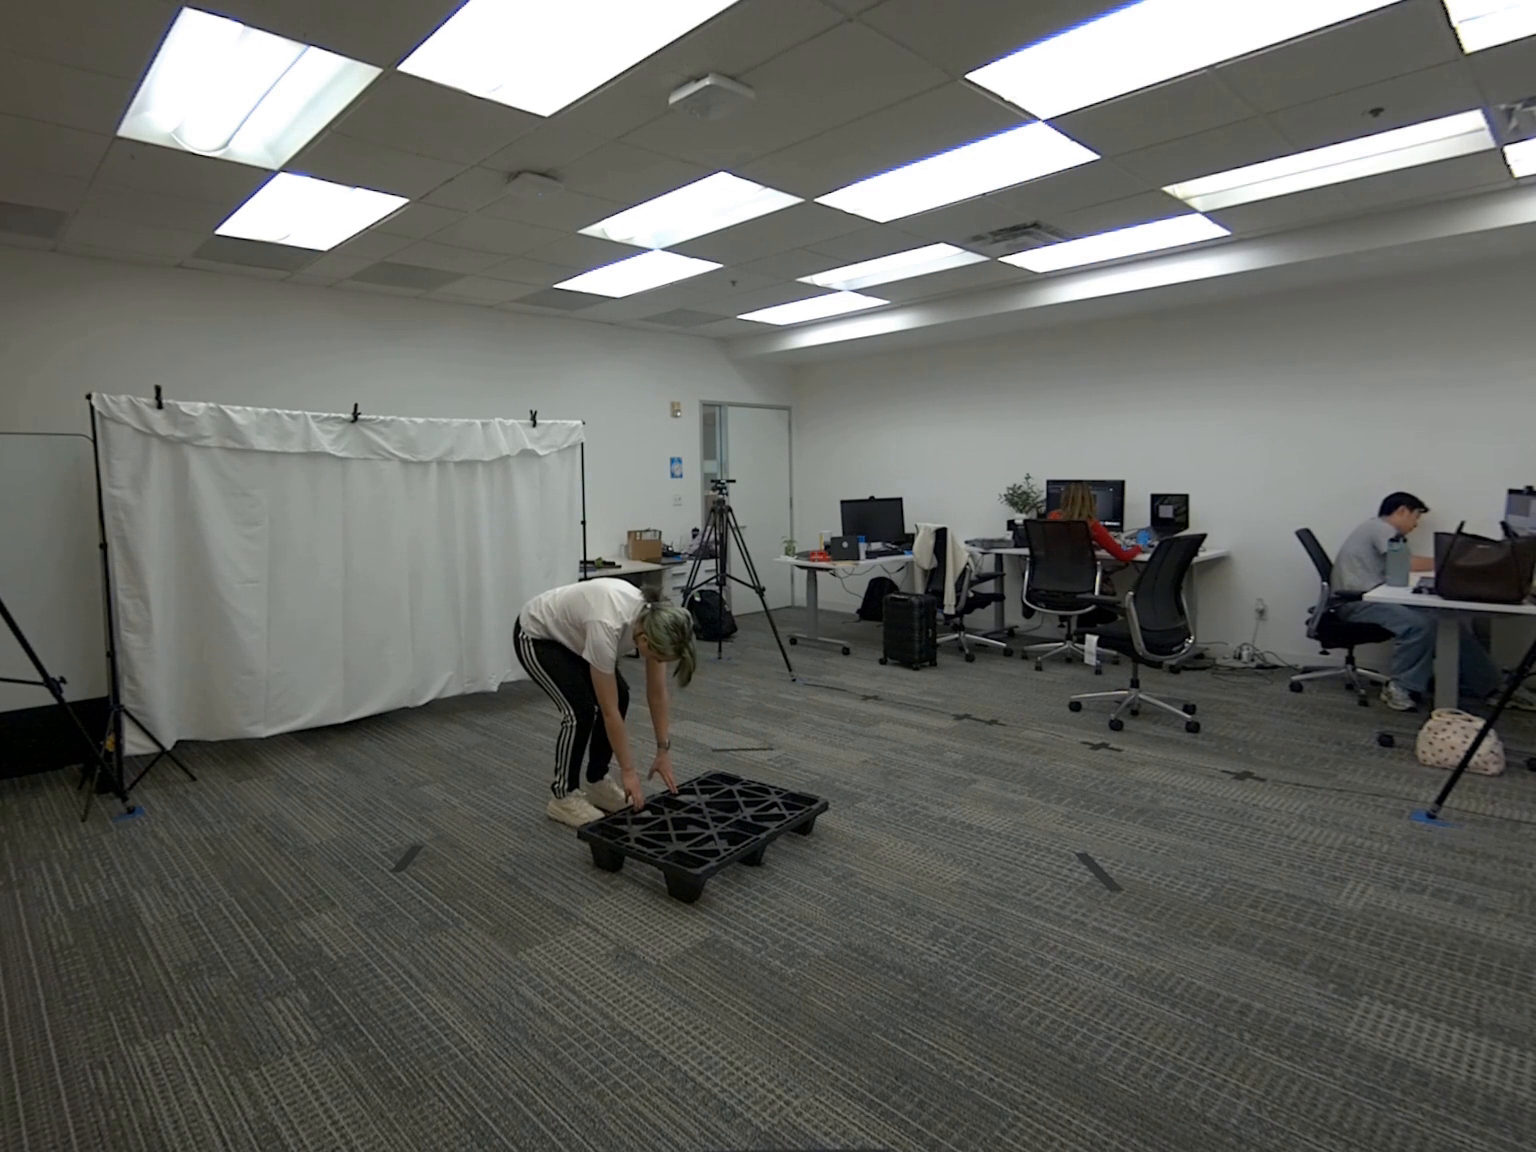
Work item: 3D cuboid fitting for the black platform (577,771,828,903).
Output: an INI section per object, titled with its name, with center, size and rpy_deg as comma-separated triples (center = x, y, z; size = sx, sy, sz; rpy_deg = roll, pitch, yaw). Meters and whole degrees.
[black platform]
center = -0.232, 0.967, 3.241
size = 0.623, 0.143, 0.785
rpy_deg = 3, 7, 38
